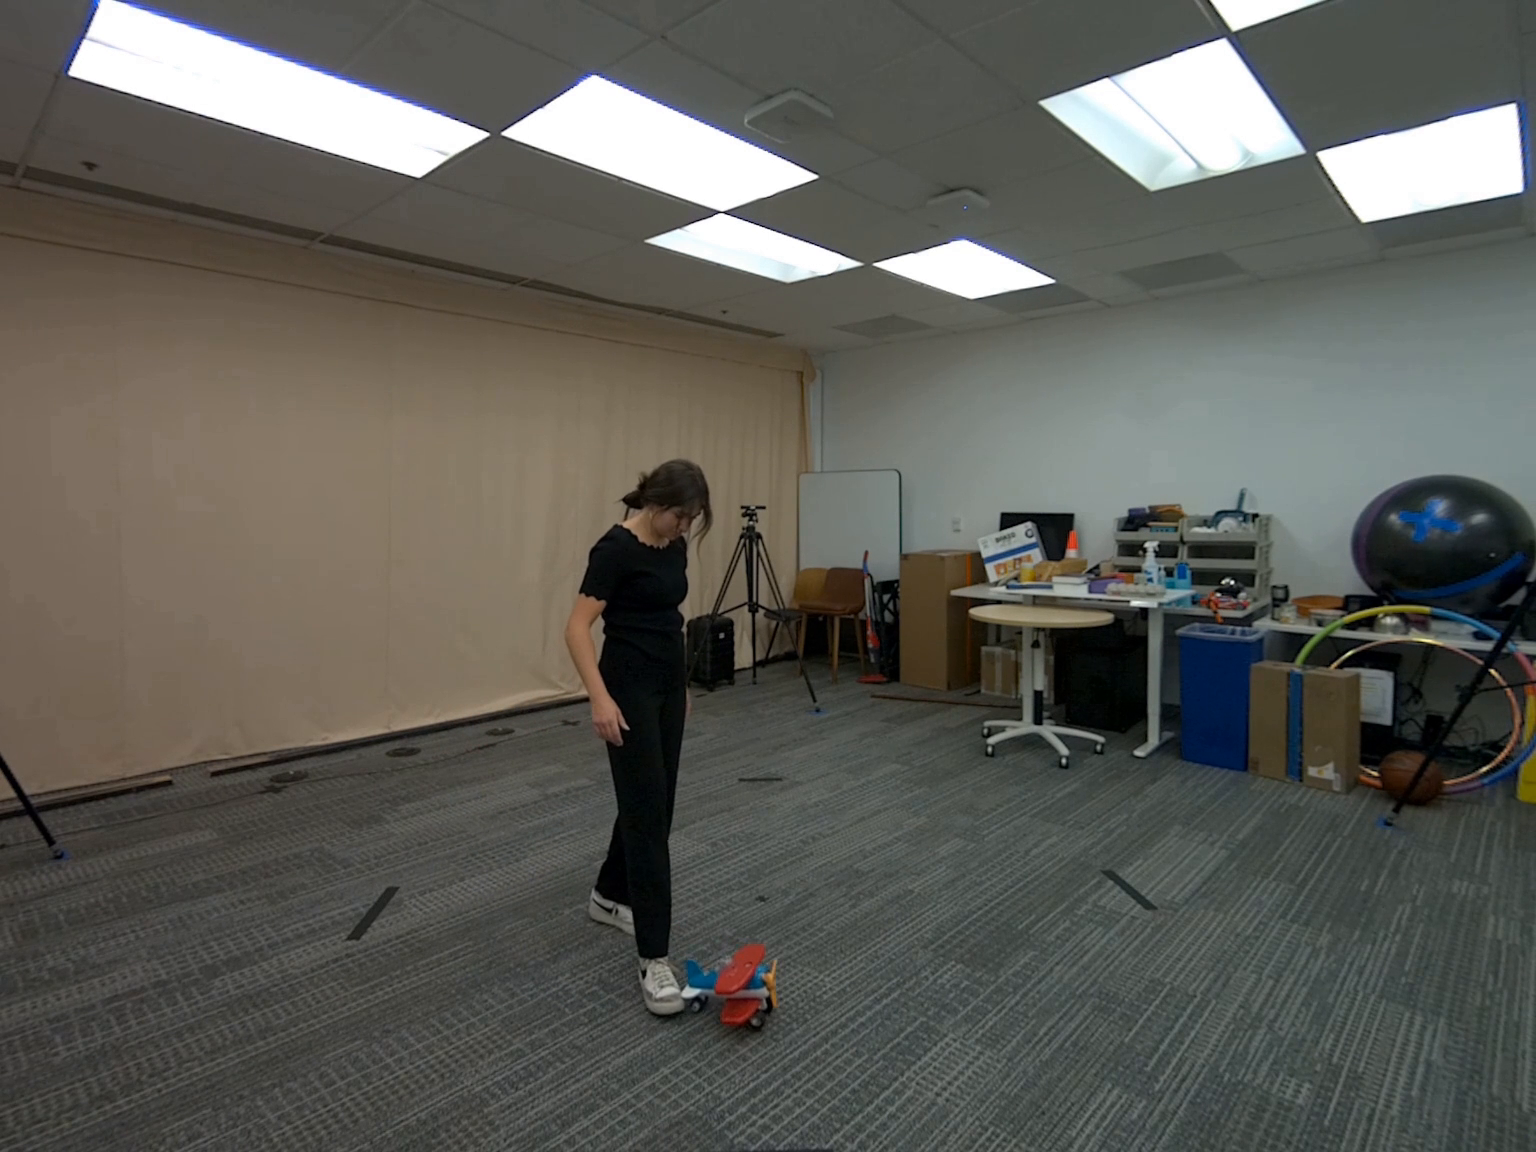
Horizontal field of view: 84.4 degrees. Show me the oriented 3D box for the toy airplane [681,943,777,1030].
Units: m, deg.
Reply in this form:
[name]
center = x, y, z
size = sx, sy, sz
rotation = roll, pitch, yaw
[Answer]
[toy airplane]
center = -0.104, 1.130, 2.281
size = 0.257, 0.156, 0.254
rotation = 1, 4, -9
